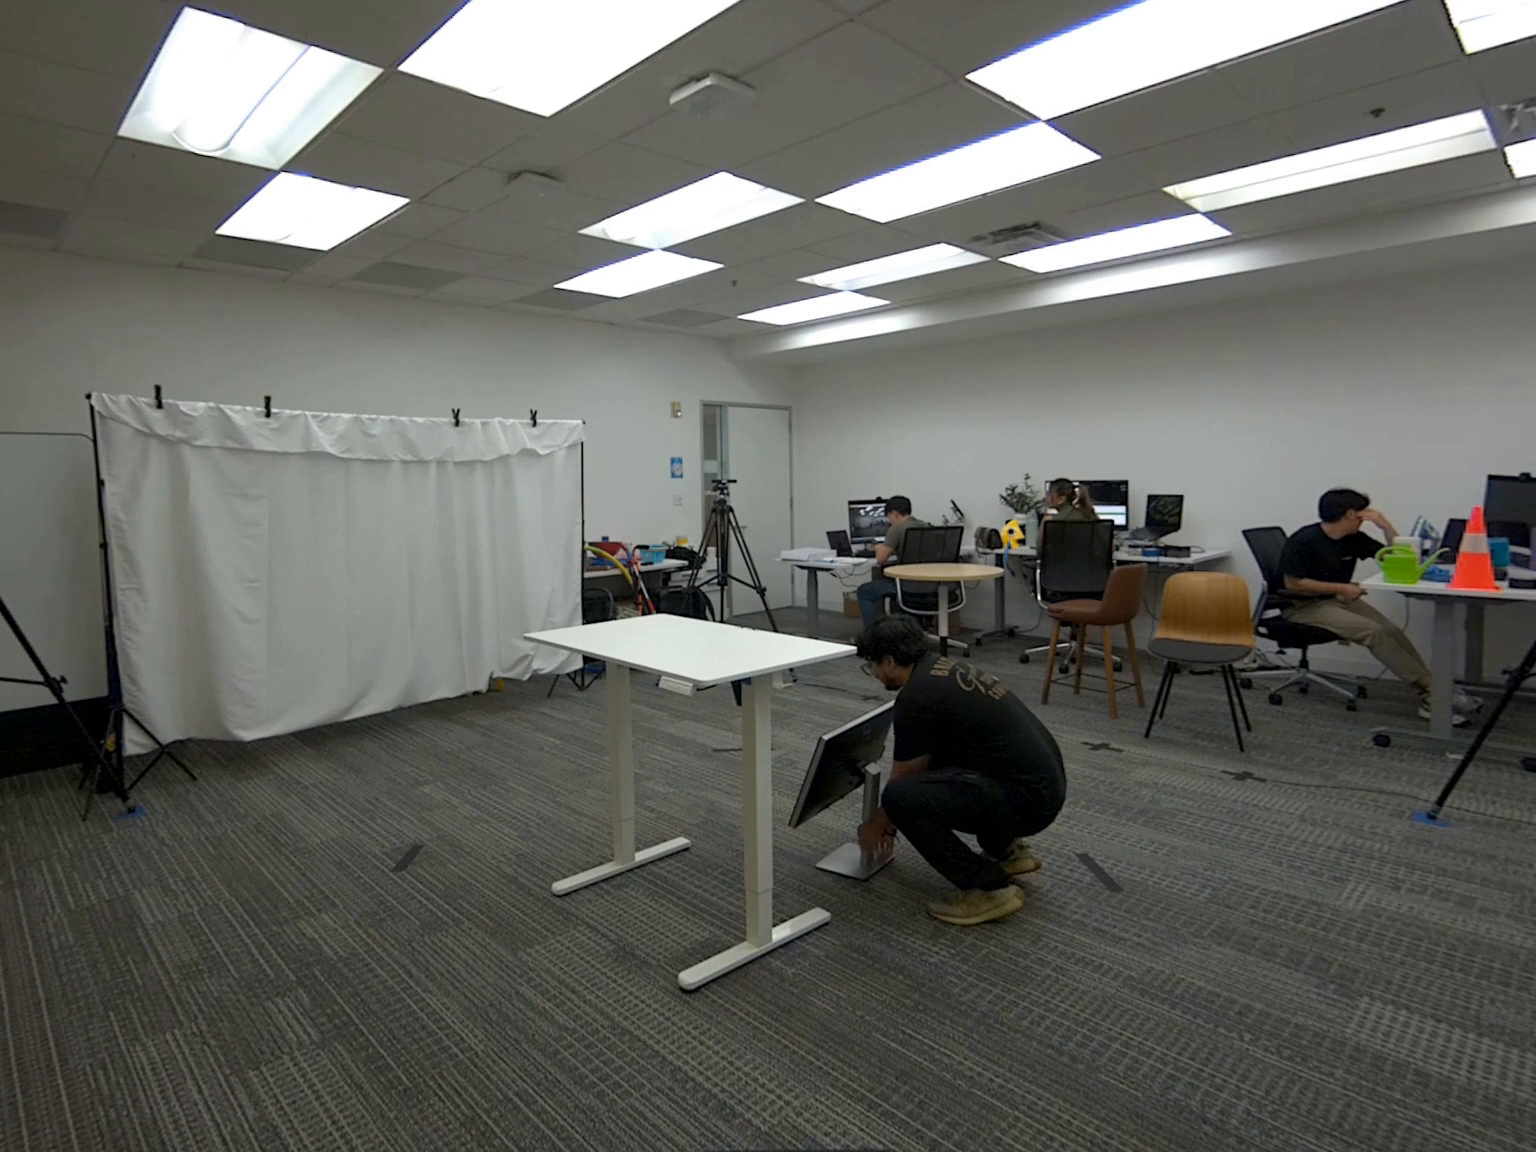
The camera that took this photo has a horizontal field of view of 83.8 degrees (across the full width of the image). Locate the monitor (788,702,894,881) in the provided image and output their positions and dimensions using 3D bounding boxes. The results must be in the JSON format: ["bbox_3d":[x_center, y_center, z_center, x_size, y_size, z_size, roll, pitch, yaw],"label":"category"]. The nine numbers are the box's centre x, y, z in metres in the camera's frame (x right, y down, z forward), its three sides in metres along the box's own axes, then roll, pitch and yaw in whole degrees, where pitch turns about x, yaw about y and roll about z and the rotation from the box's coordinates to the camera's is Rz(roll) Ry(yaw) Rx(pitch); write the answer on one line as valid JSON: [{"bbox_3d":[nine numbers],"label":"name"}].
[{"bbox_3d":[0.341,0.775,3.069,0.217,0.549,0.552,14,13,34],"label":"monitor"}]
